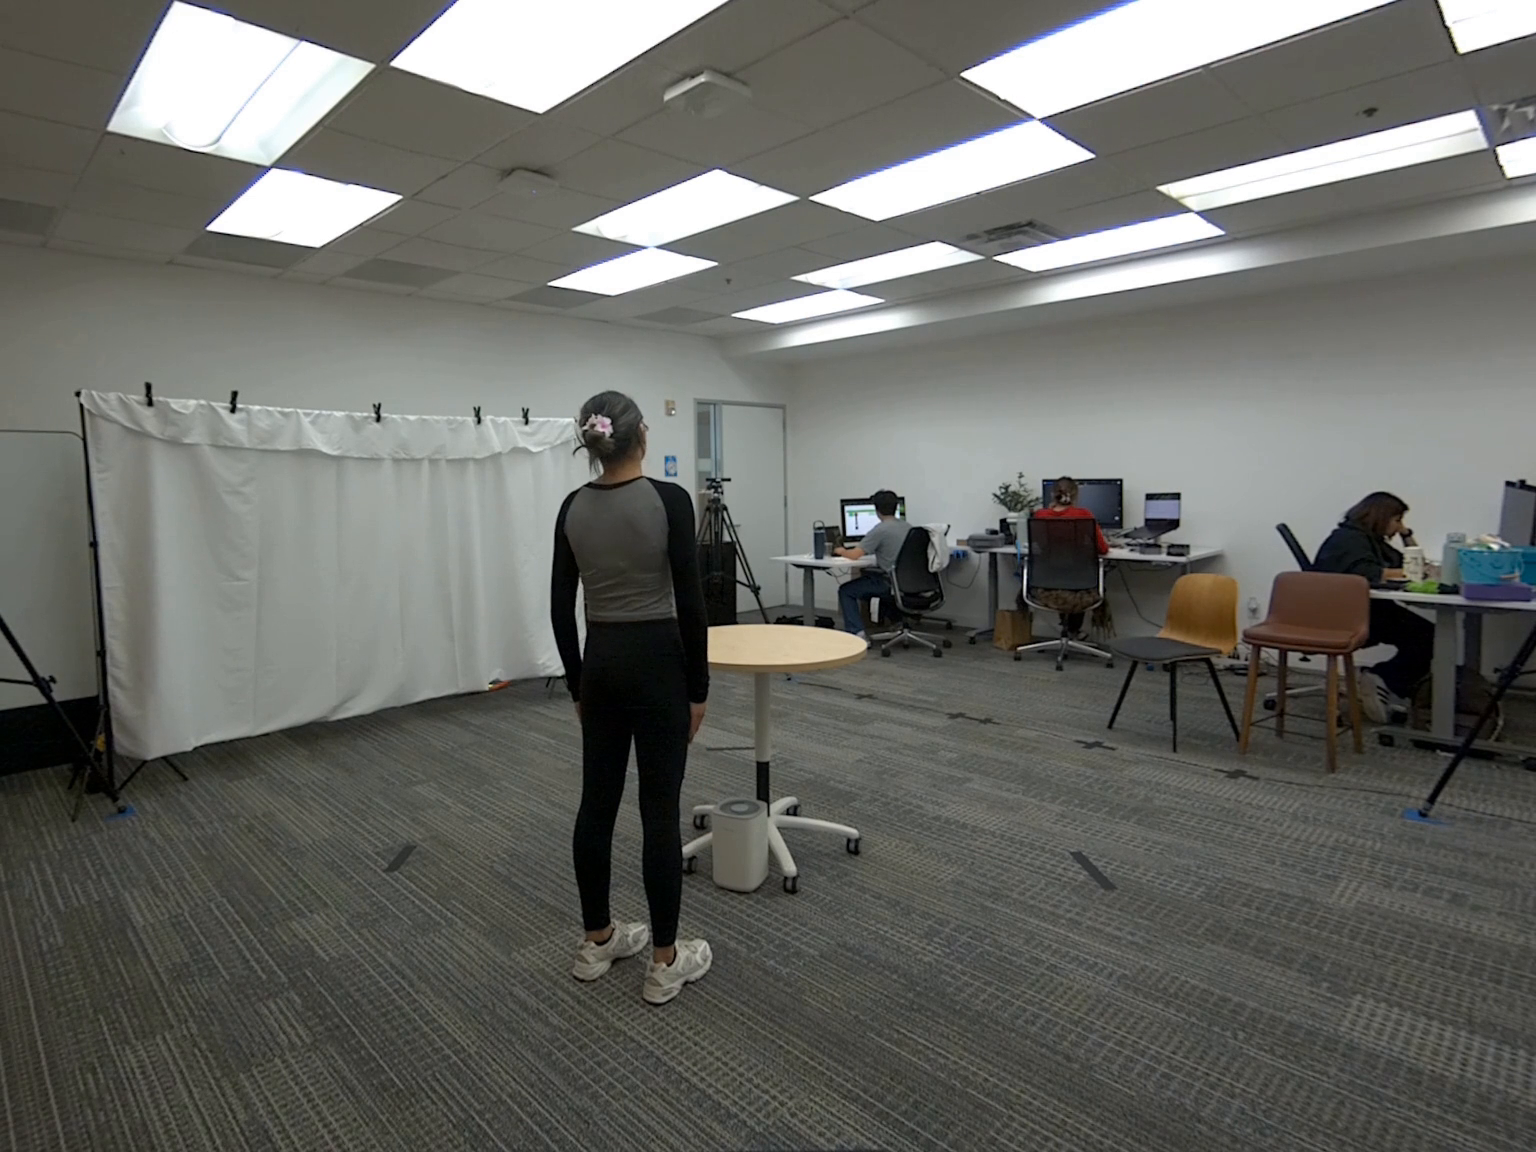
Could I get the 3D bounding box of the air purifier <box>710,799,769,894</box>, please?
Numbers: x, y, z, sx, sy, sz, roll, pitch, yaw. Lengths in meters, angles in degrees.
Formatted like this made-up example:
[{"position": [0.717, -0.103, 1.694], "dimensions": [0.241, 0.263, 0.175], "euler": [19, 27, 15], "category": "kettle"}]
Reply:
[{"position": [-0.091, 0.924, 2.952], "dimensions": [0.175, 0.264, 0.168], "euler": [1, 5, 24], "category": "air purifier"}]
